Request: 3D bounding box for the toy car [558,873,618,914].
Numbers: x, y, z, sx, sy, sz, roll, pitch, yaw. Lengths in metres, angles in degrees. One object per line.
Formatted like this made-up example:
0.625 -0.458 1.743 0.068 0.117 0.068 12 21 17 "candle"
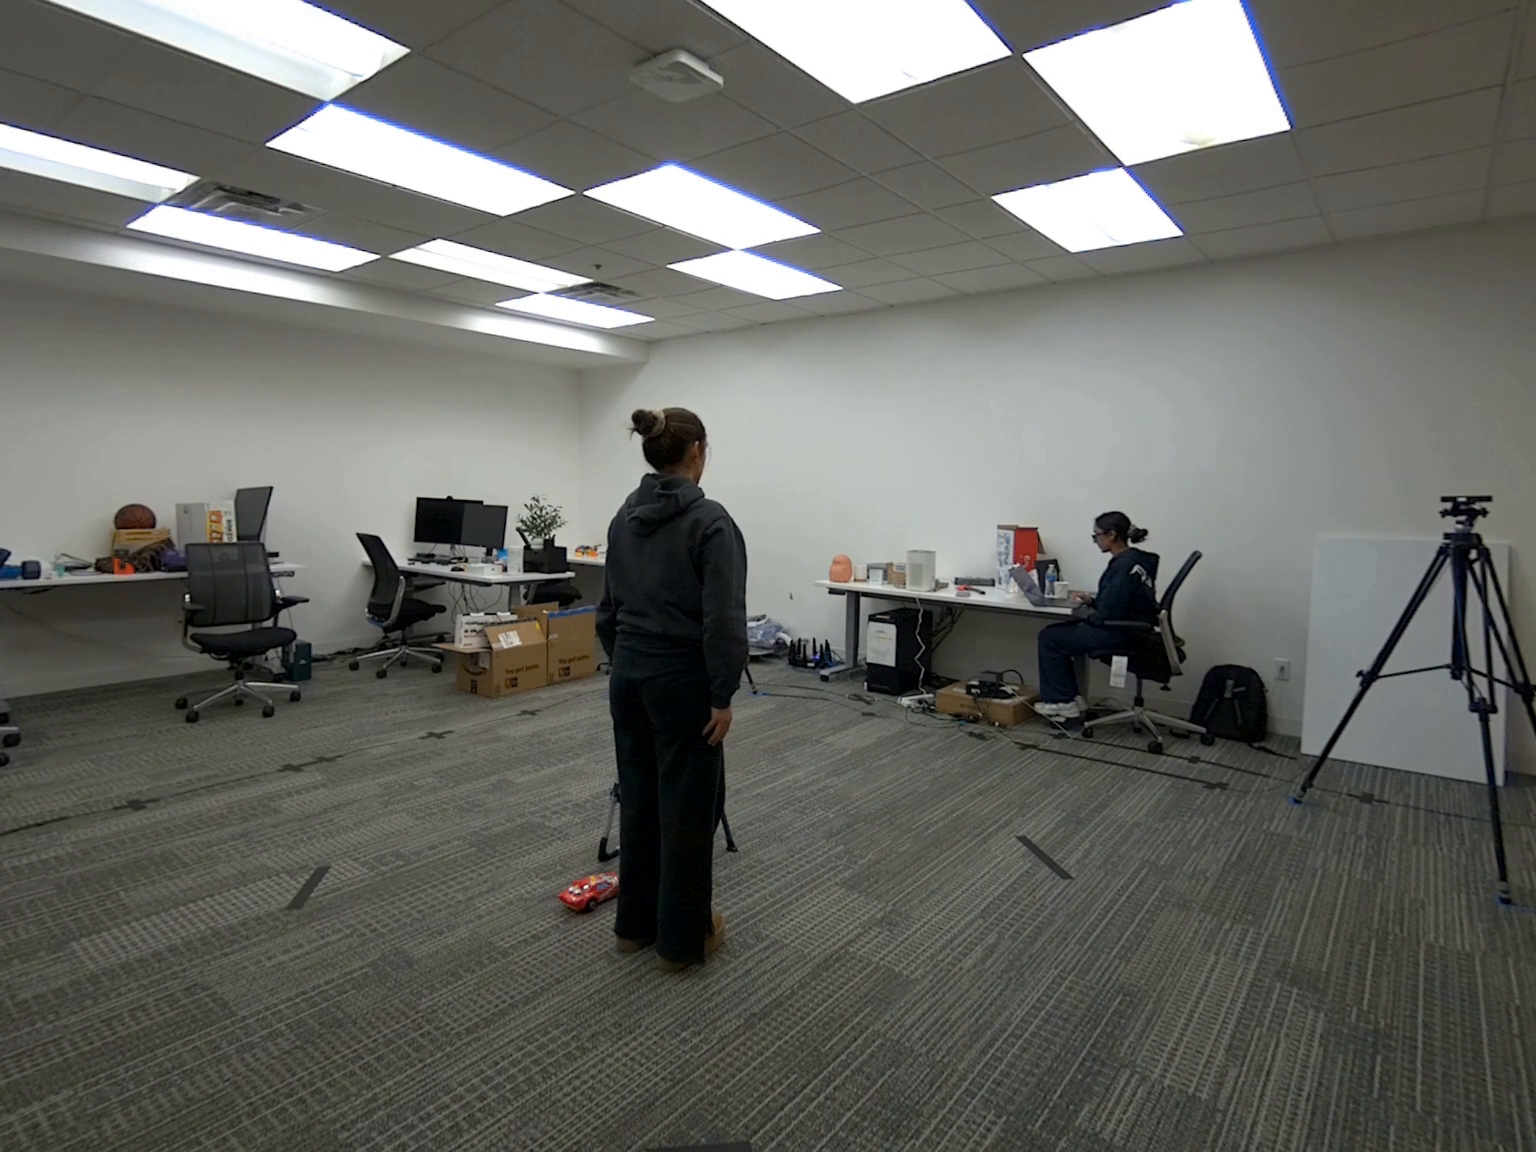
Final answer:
-0.593 1.058 2.845 0.135 0.083 0.245 5 -4 39 "toy car"
